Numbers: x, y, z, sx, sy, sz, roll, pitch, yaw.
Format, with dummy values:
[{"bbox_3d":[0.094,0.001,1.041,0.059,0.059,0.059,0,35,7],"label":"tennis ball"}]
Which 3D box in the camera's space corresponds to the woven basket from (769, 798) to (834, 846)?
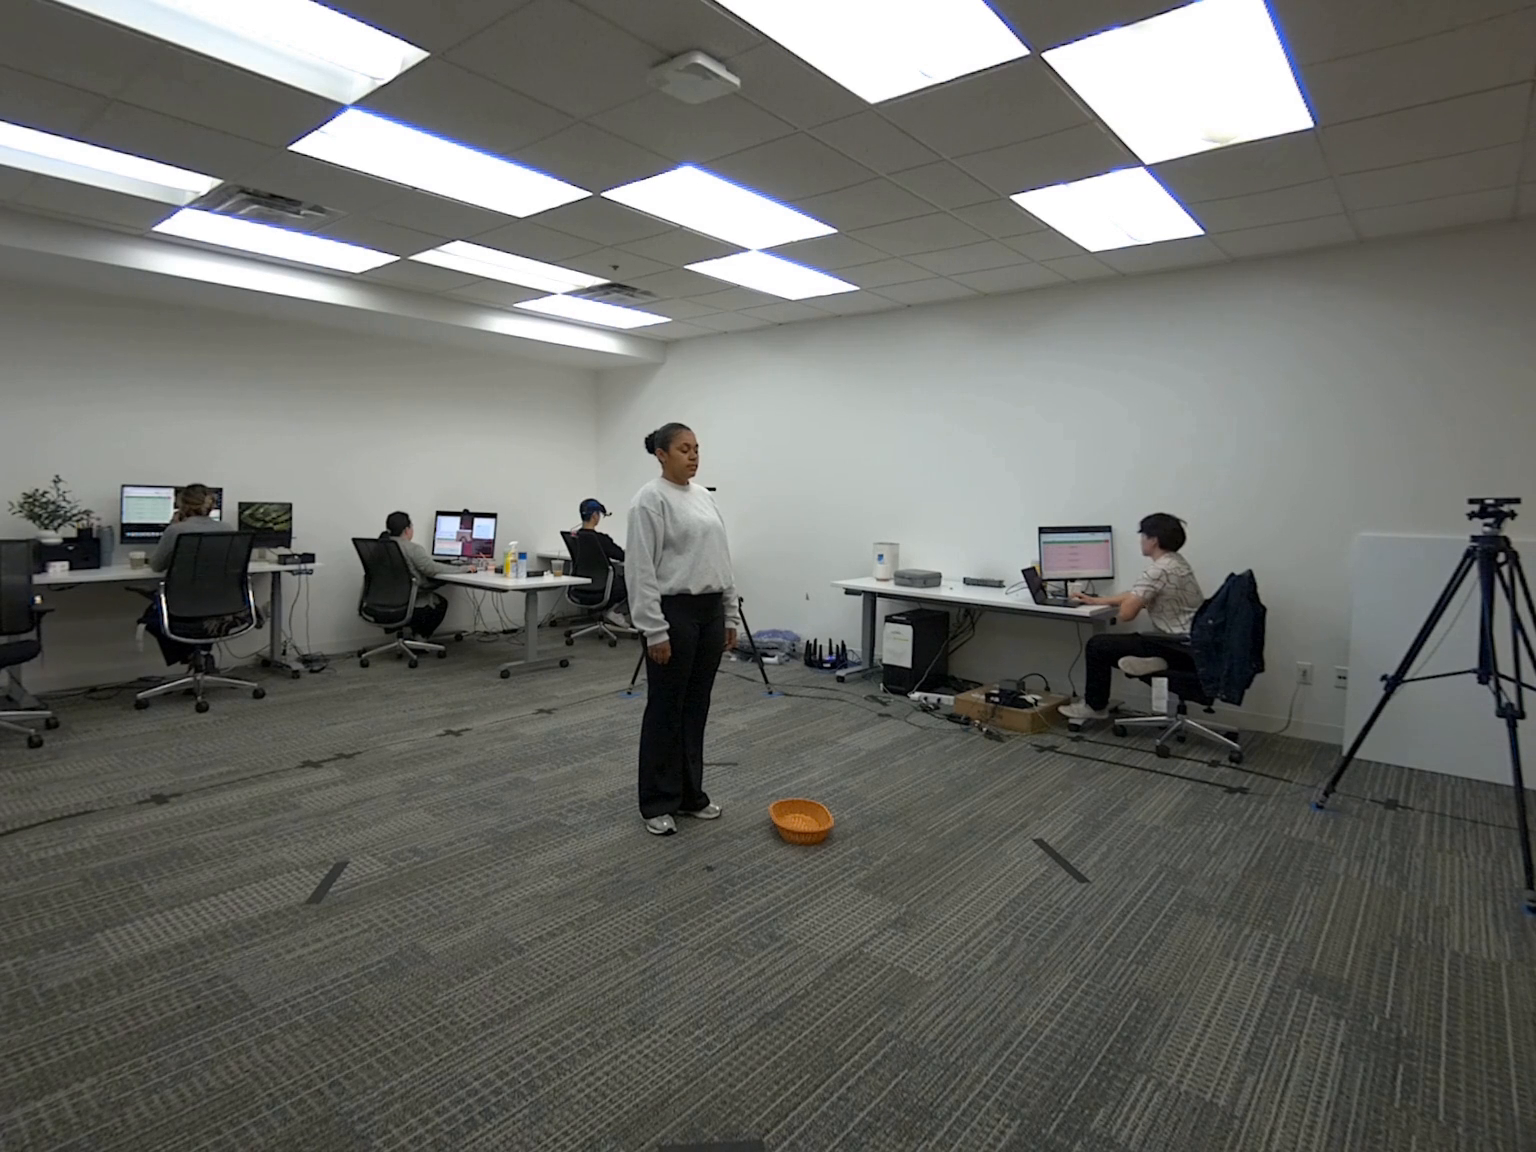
[{"bbox_3d":[0.122,0.997,3.467,0.251,0.073,0.353,0,6,-5],"label":"woven basket"}]
